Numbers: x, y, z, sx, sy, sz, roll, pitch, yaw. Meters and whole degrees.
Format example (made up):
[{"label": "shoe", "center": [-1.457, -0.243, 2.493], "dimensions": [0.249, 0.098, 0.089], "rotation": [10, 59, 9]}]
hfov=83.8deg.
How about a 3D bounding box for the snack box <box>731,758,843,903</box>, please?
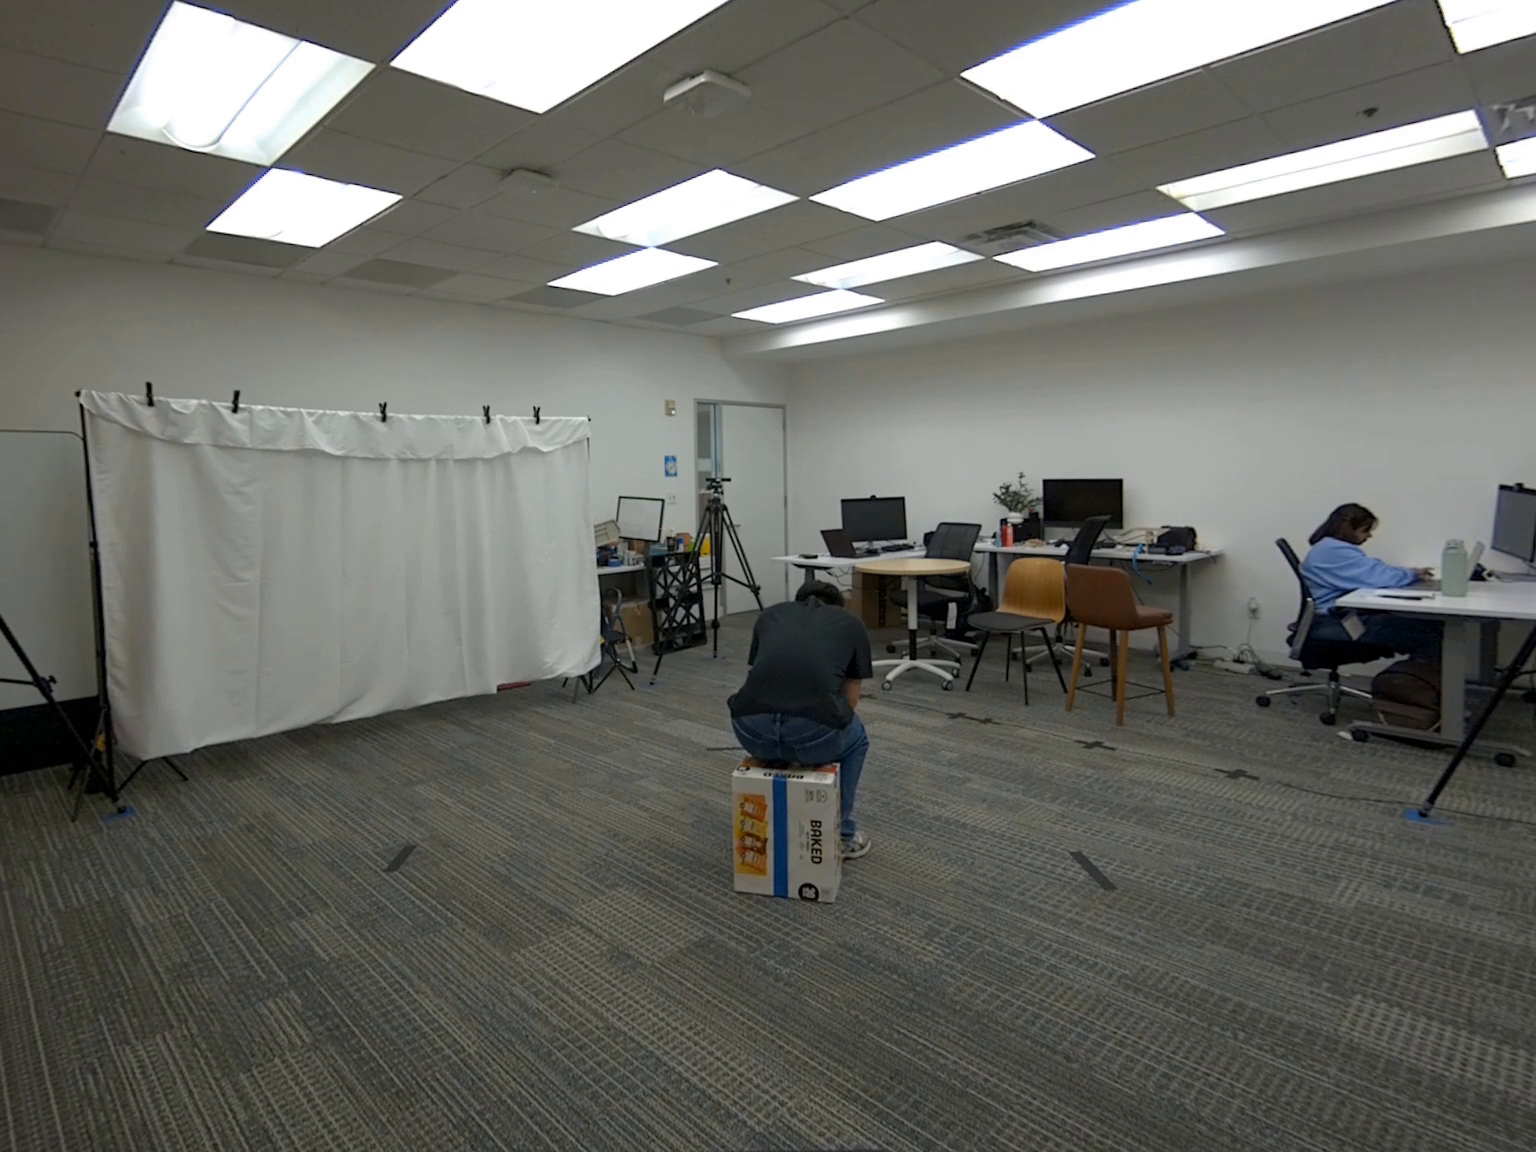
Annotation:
[{"label": "snack box", "center": [0.070, 0.859, 2.927], "dimensions": [0.345, 0.404, 0.203], "rotation": [0, 4, 15]}]
